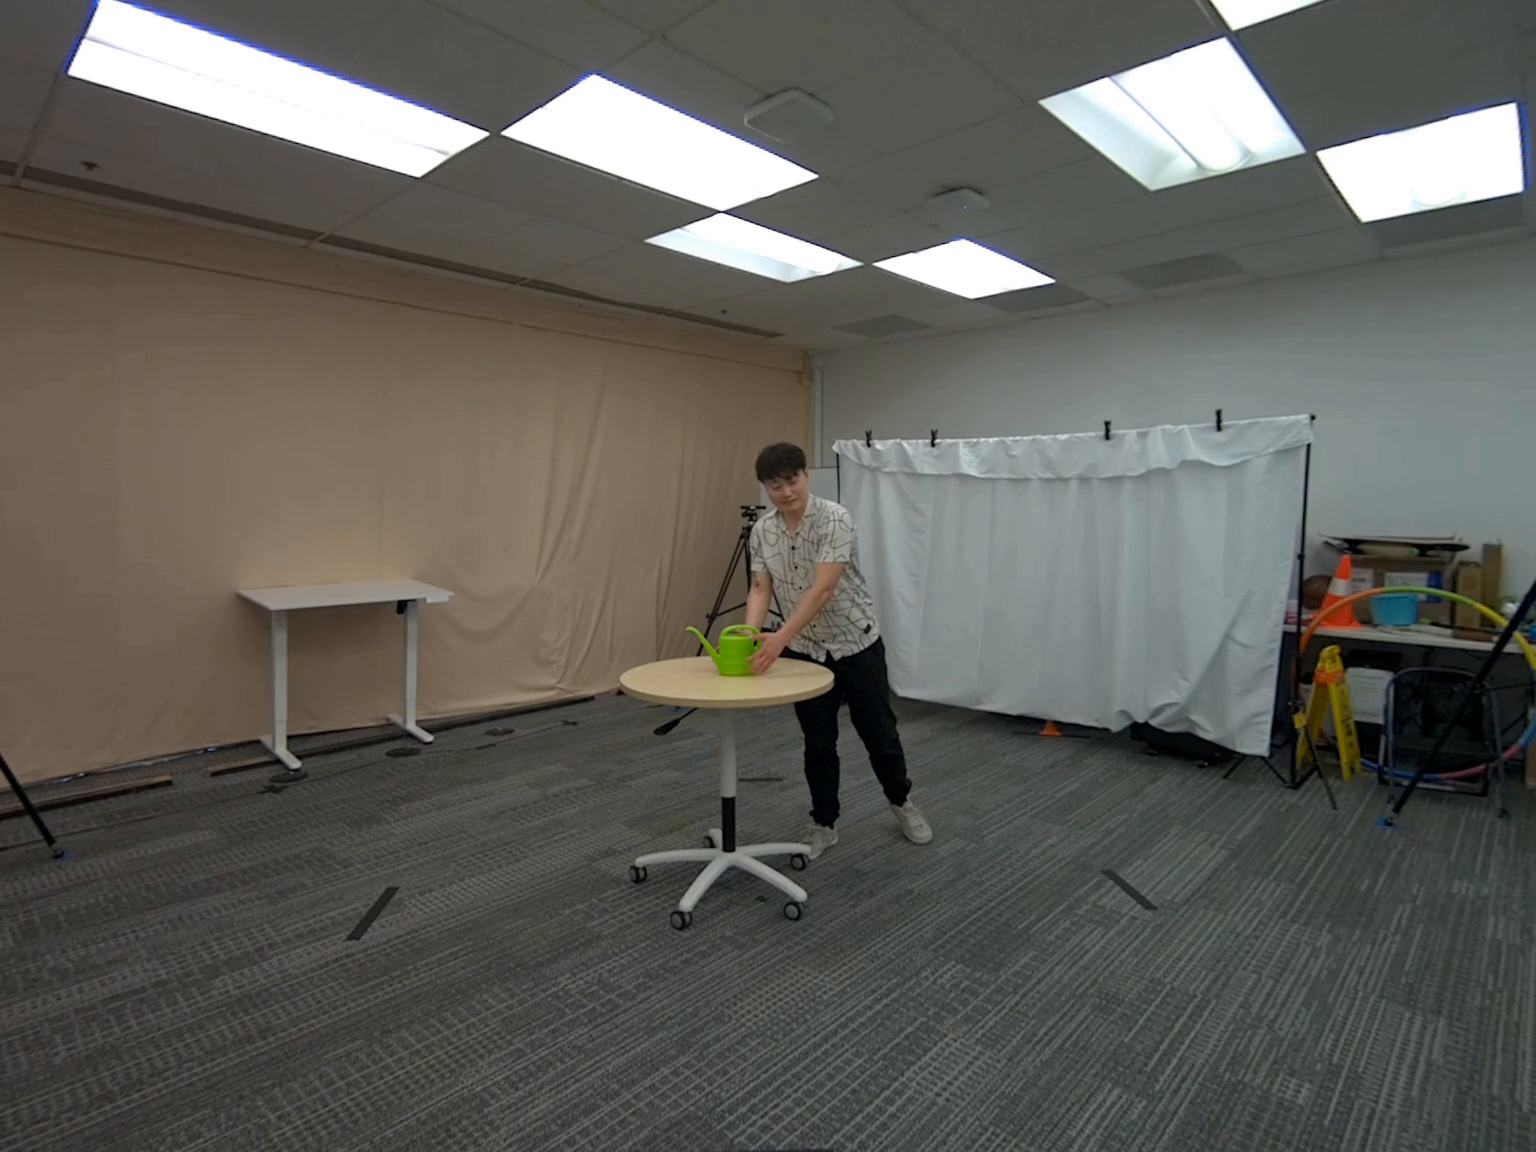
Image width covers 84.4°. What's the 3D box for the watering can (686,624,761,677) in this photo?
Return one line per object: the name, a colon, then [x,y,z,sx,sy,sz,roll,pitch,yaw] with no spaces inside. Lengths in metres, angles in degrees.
watering can: [-0.153,0.271,3.044,0.278,0.177,0.098,-1,-1,-1]
